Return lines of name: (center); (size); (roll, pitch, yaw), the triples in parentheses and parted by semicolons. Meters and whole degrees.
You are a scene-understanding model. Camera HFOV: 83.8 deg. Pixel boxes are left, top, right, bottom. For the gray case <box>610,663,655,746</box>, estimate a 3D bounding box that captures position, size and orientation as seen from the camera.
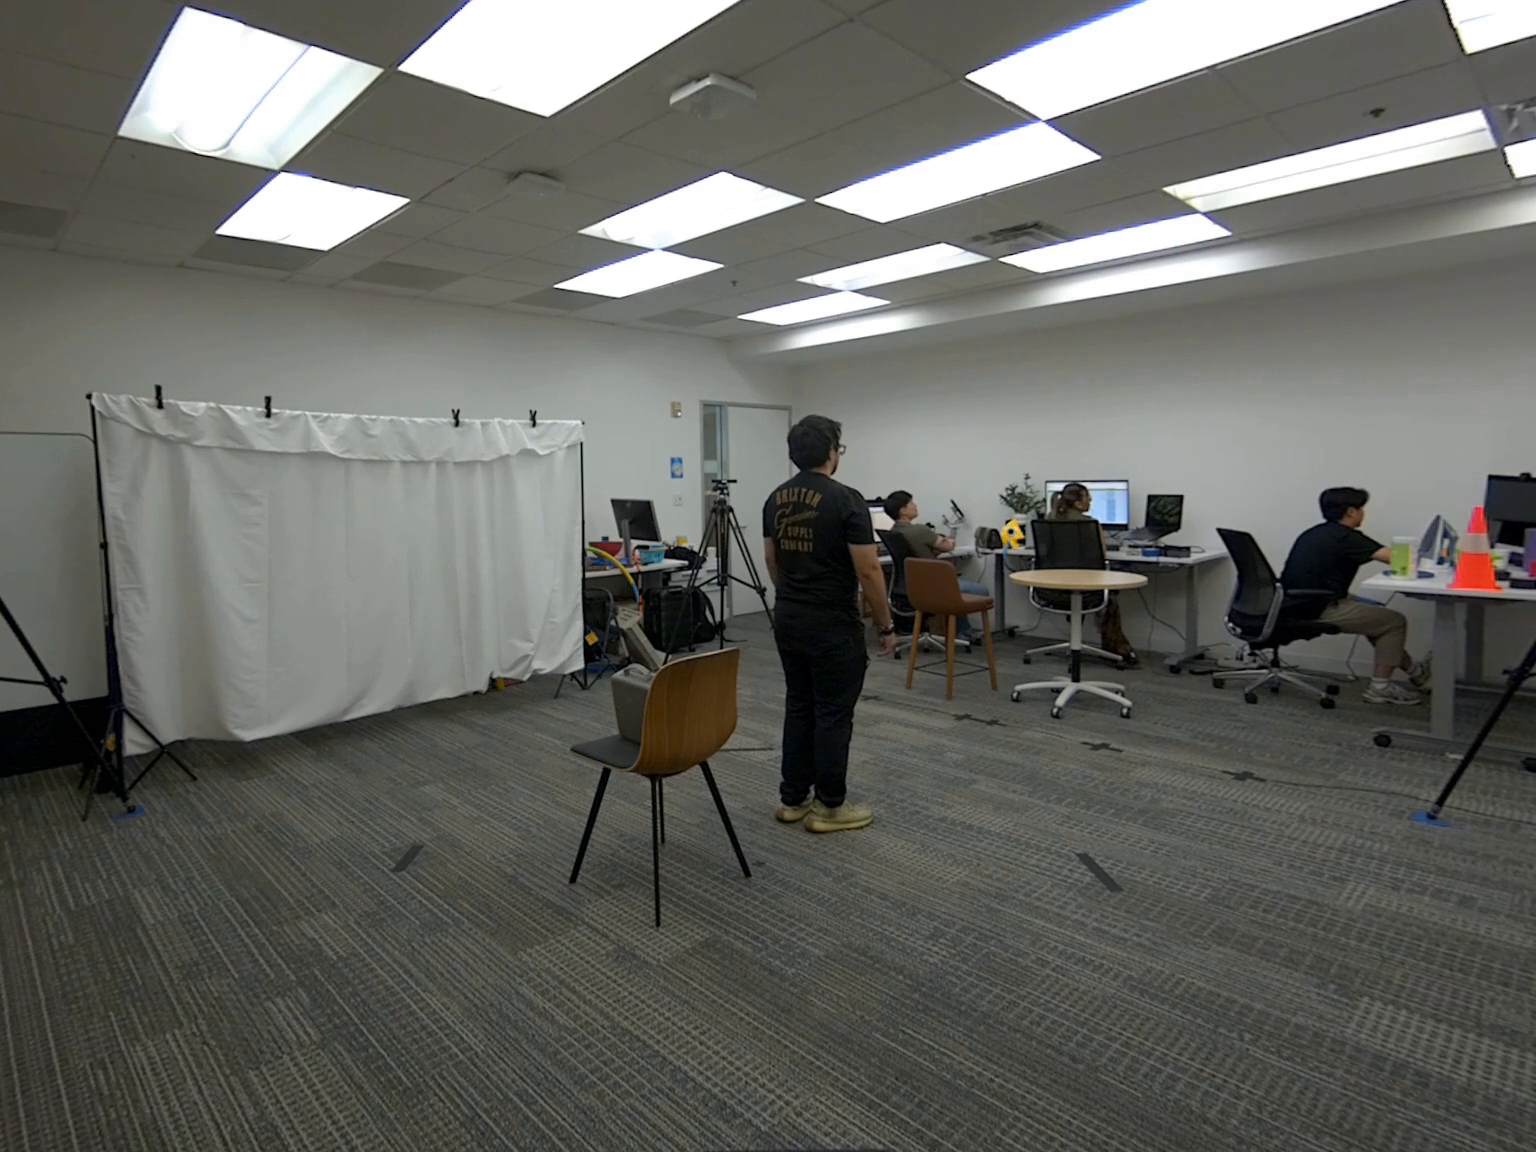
gray case: (-0.423, 0.461, 3.001); (0.265, 0.257, 0.102); (9, 20, 41)
